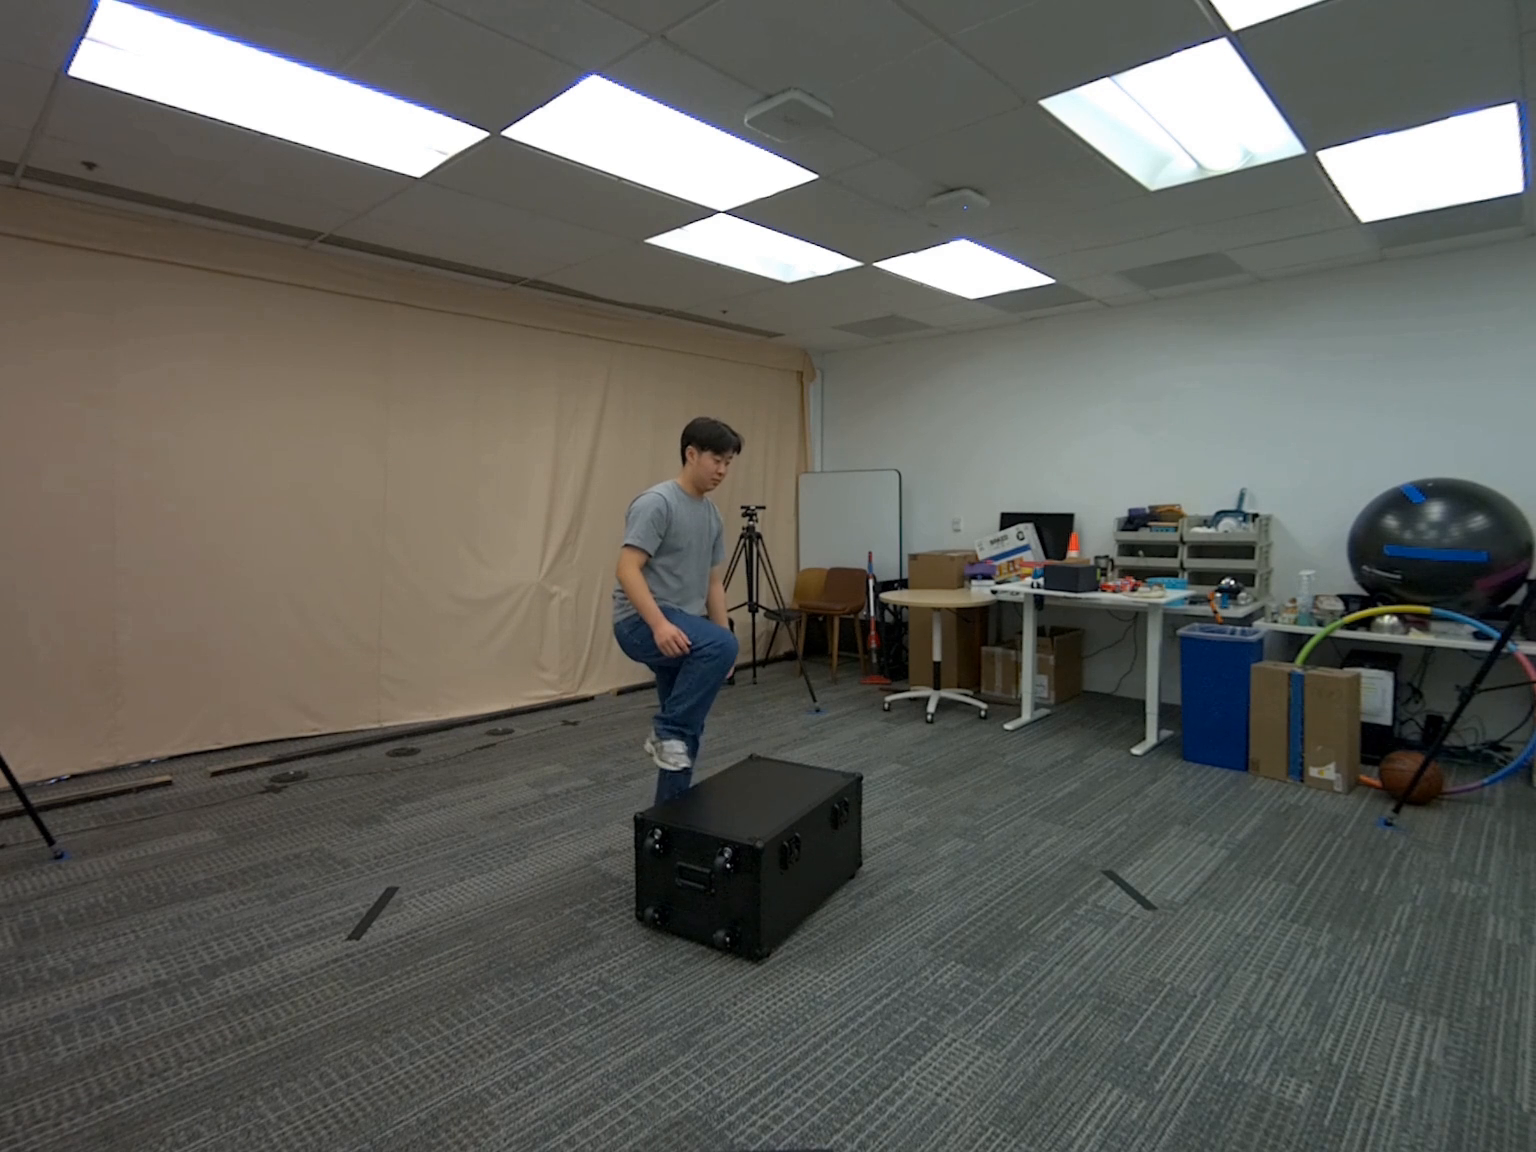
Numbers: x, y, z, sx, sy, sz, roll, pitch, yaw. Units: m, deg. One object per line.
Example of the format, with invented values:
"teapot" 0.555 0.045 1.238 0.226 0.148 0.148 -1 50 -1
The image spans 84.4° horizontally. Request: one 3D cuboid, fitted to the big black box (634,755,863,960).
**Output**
"big black box" -0.054 0.954 2.951 0.536 0.395 0.839 2 5 30
